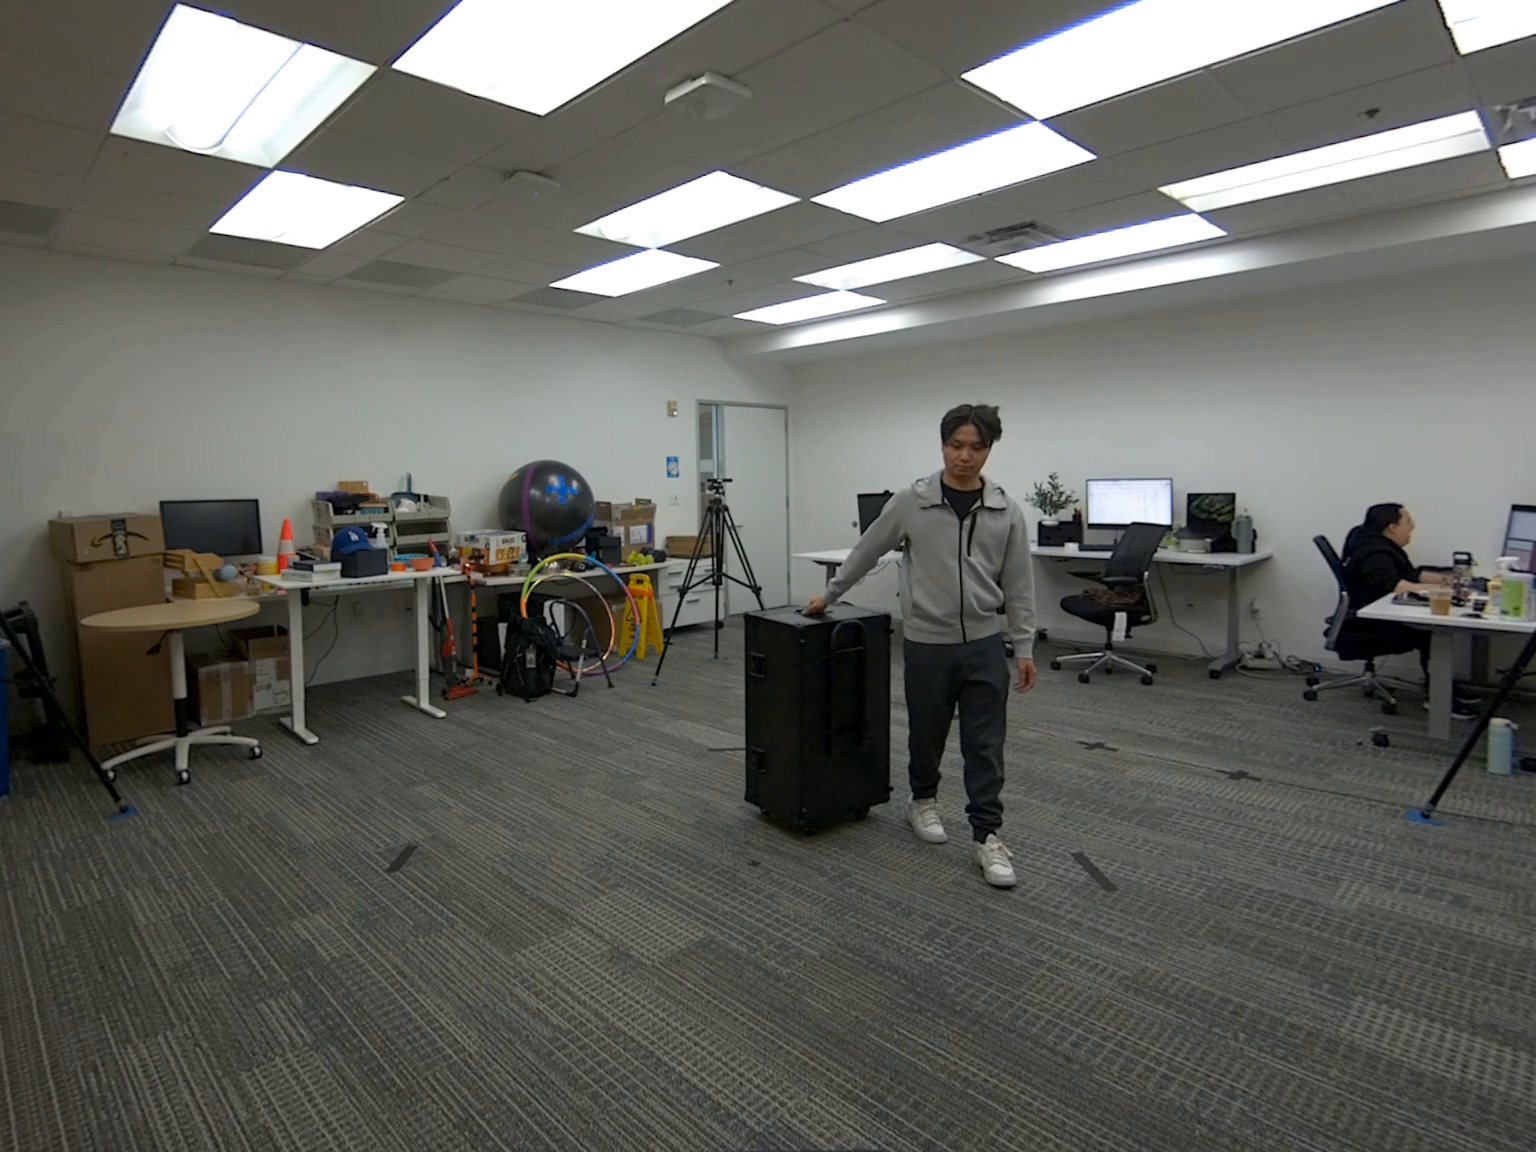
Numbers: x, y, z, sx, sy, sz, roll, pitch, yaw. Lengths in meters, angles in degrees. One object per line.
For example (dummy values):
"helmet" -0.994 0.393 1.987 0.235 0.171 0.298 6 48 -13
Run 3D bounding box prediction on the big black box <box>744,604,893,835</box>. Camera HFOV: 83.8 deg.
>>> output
"big black box" 0.210 0.573 3.485 0.508 0.857 0.408 -4 7 -35
